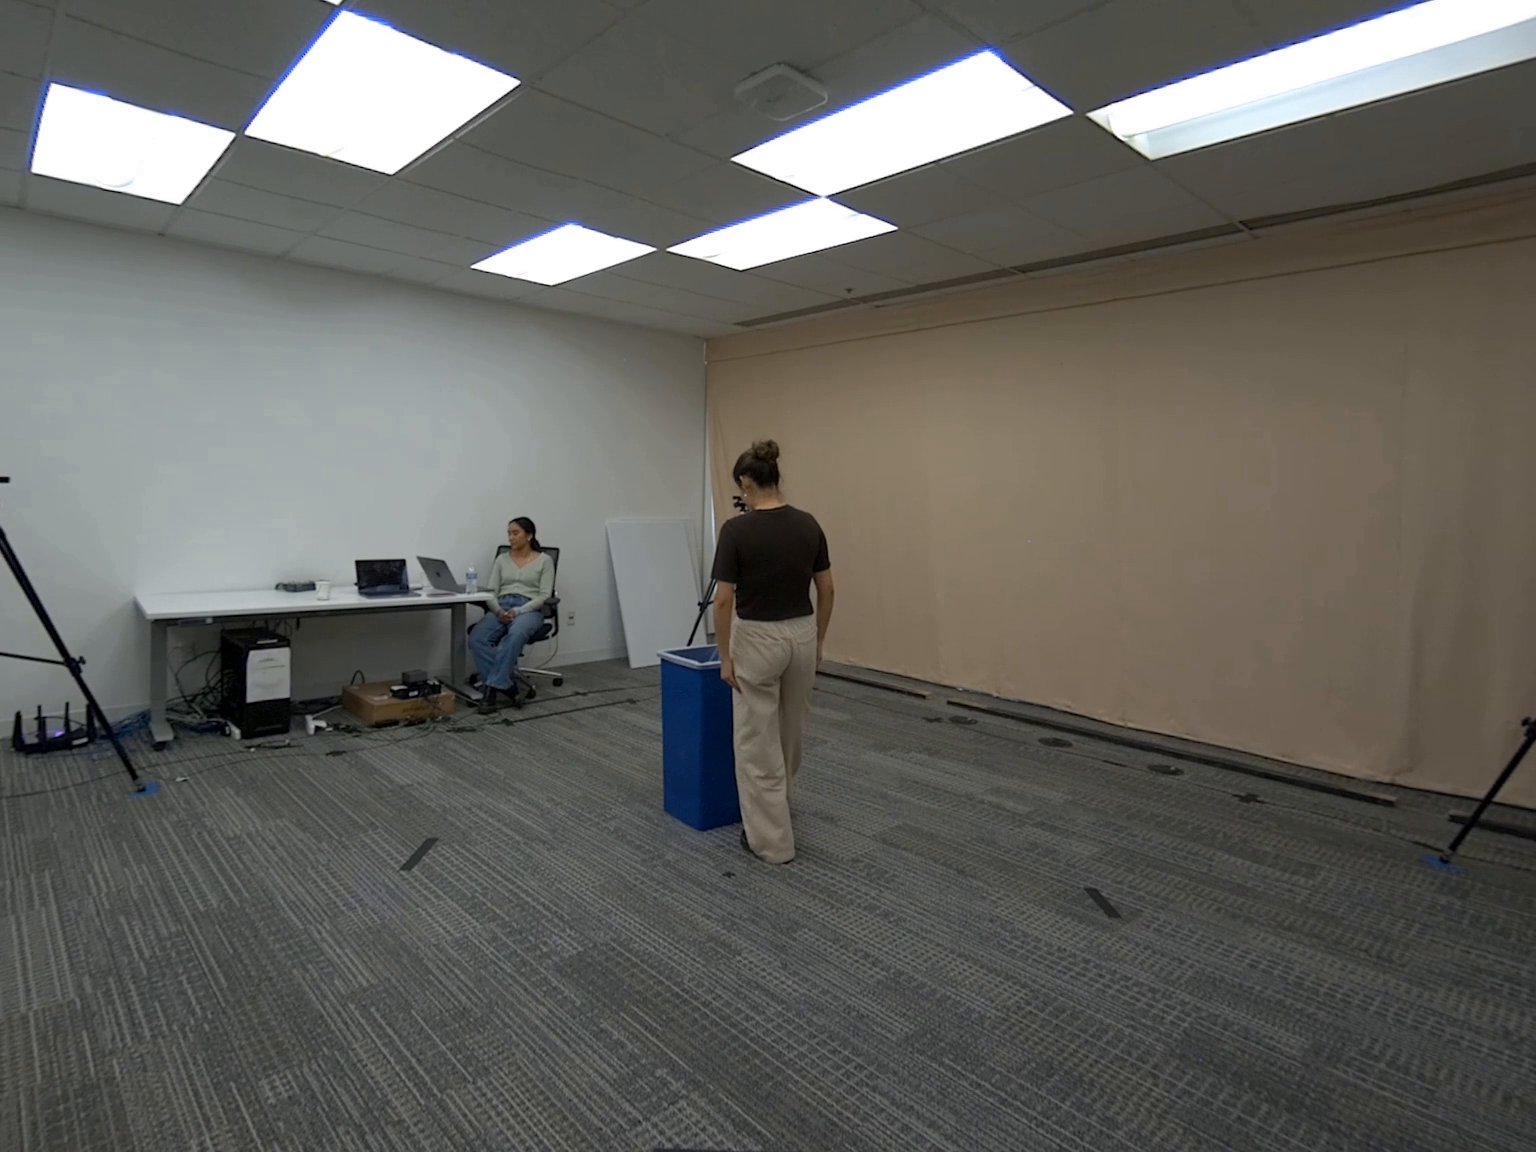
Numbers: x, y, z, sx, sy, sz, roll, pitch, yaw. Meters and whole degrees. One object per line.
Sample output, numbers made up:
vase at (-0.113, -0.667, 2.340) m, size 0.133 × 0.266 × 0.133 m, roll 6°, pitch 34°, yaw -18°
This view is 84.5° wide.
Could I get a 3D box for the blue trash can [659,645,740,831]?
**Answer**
blue trash can at (-0.268, 0.691, 3.692) m, size 0.369 × 0.712 × 0.383 m, roll -1°, pitch 4°, yaw -38°
